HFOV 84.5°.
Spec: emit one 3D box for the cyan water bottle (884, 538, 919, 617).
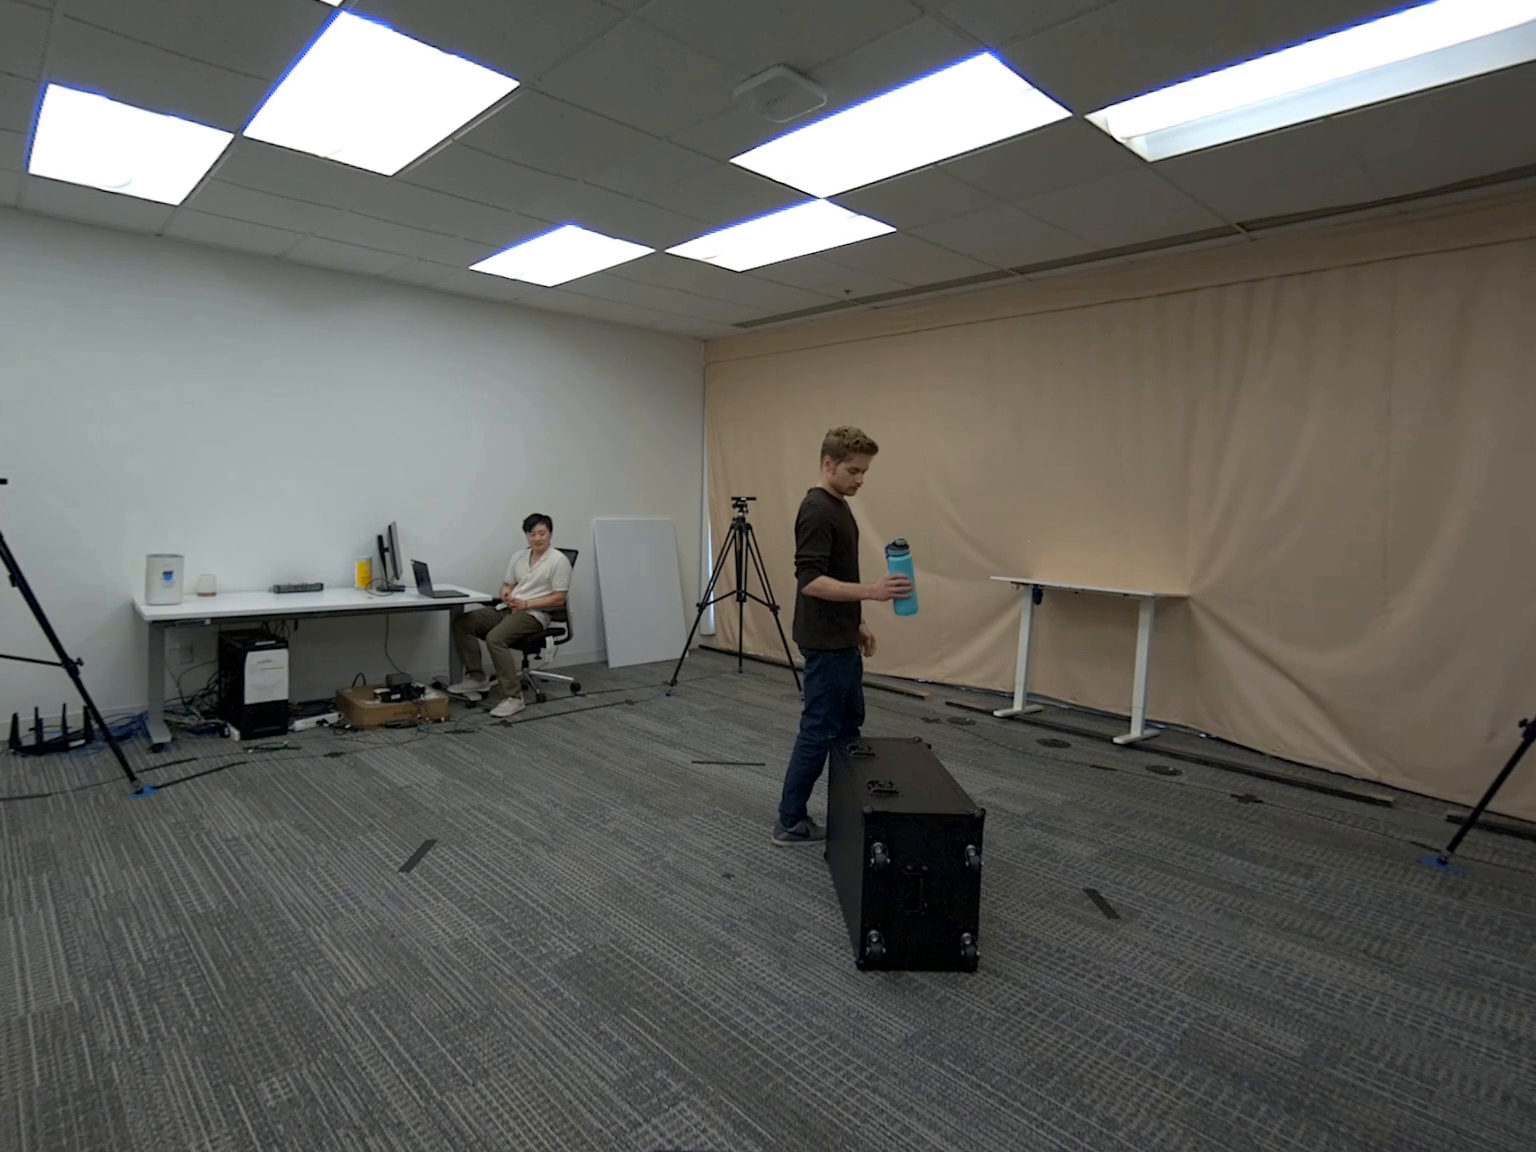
[{"bbox_3d":[0.488,0.002,3.096,0.092,0.280,0.093,-11,14,2],"label":"cyan water bottle"}]
